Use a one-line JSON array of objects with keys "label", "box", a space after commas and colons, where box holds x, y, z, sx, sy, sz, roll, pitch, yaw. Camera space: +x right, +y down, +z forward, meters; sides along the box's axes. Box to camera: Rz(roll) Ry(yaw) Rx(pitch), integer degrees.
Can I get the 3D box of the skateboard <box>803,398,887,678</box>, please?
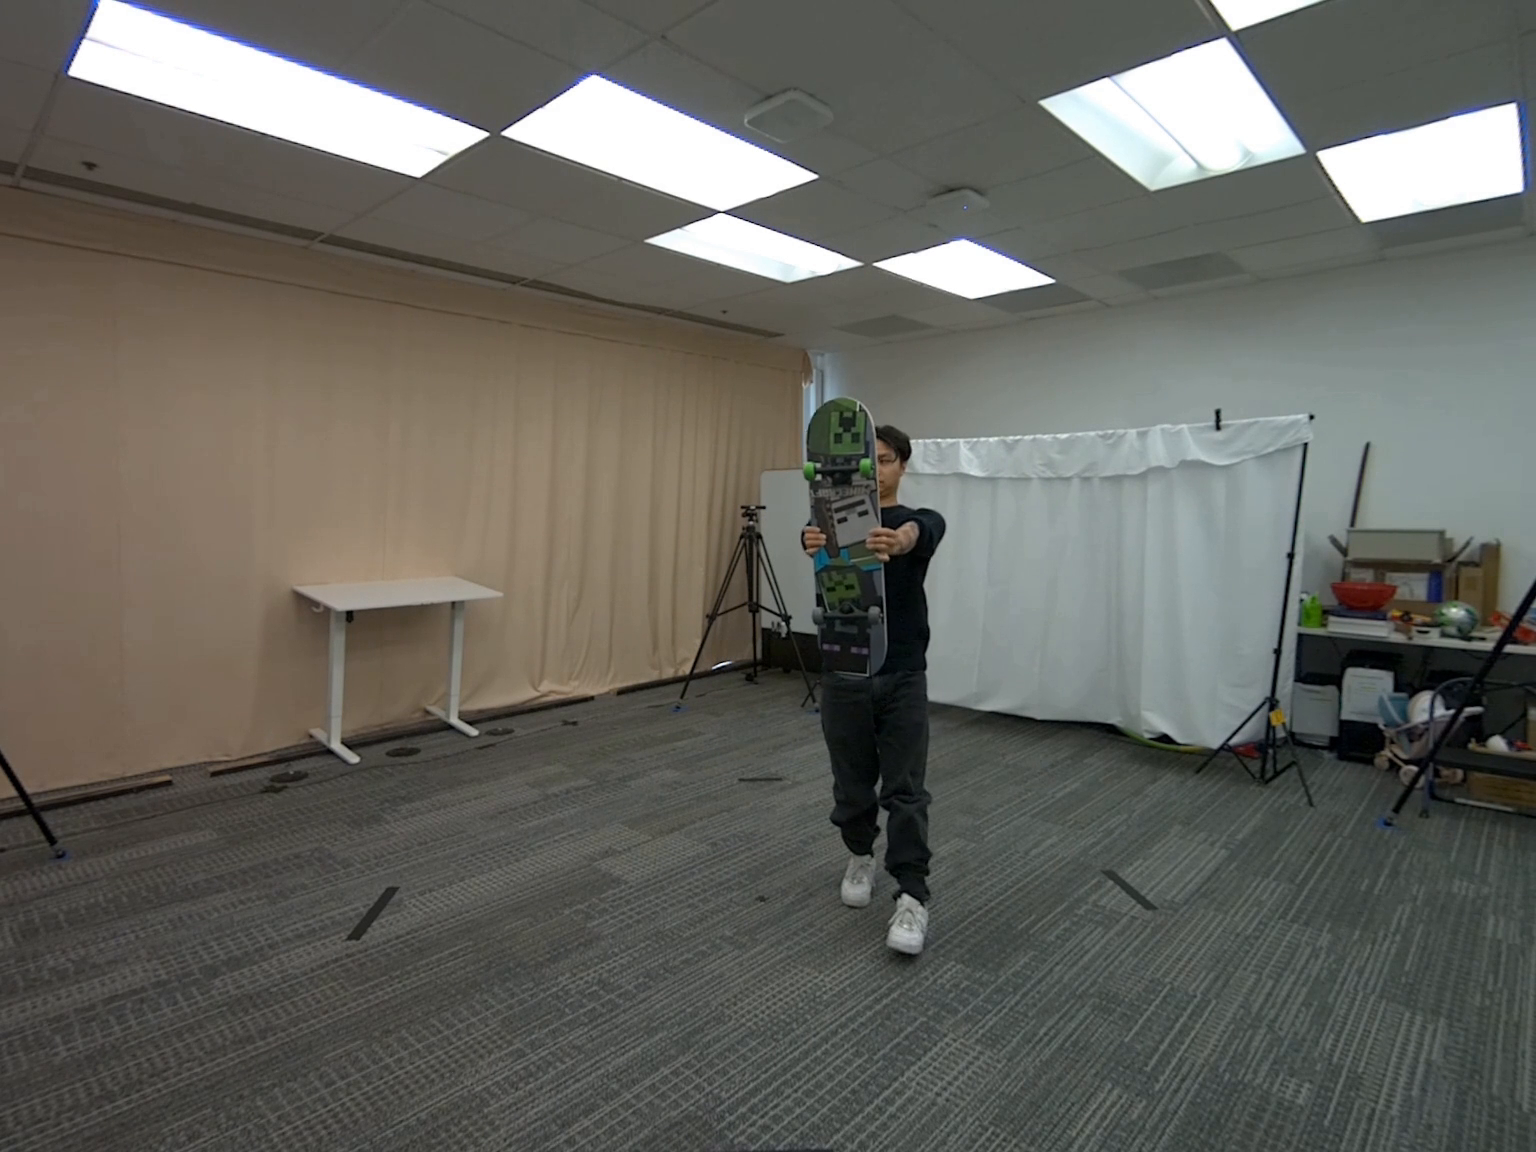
[{"label": "skateboard", "box": [0.221, -0.093, 2.298, 0.198, 0.783, 0.108, -2, 5, 22]}]
